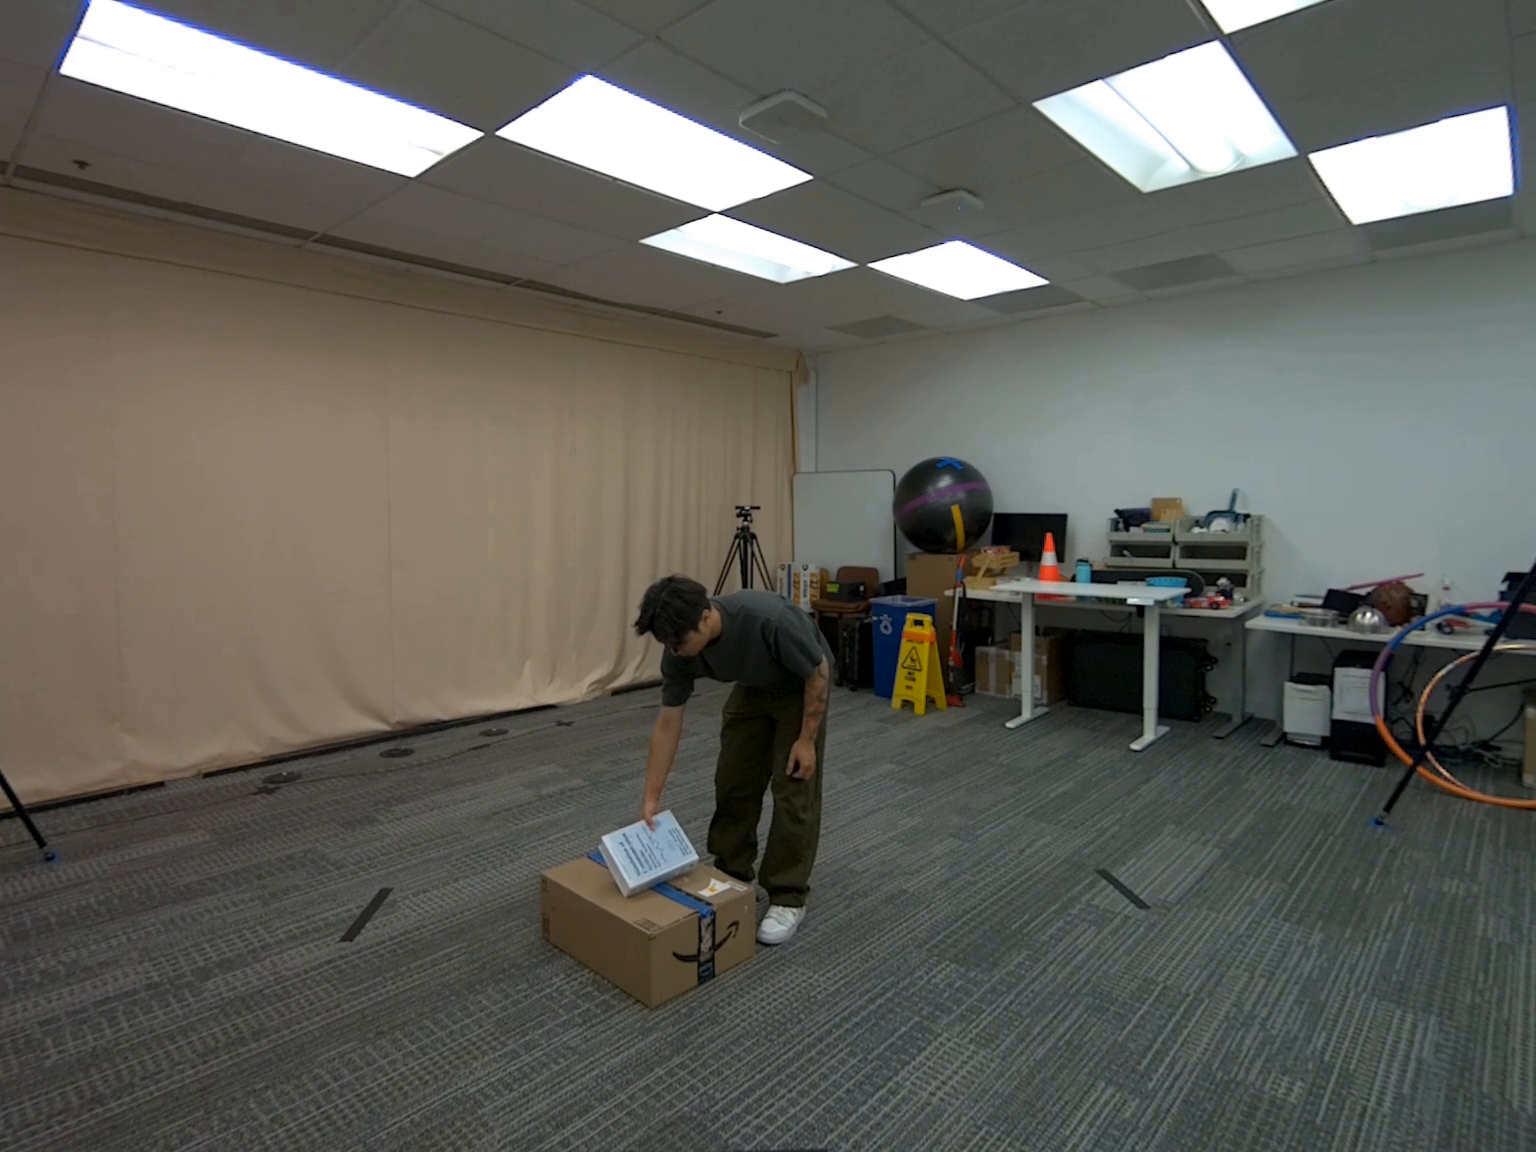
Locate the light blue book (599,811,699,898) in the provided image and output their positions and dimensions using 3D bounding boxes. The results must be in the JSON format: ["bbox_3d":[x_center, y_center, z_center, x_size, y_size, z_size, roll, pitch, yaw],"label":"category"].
[{"bbox_3d":[-0.377,0.872,2.646,0.254,0.059,0.197,-8,46,-37],"label":"light blue book"}]
